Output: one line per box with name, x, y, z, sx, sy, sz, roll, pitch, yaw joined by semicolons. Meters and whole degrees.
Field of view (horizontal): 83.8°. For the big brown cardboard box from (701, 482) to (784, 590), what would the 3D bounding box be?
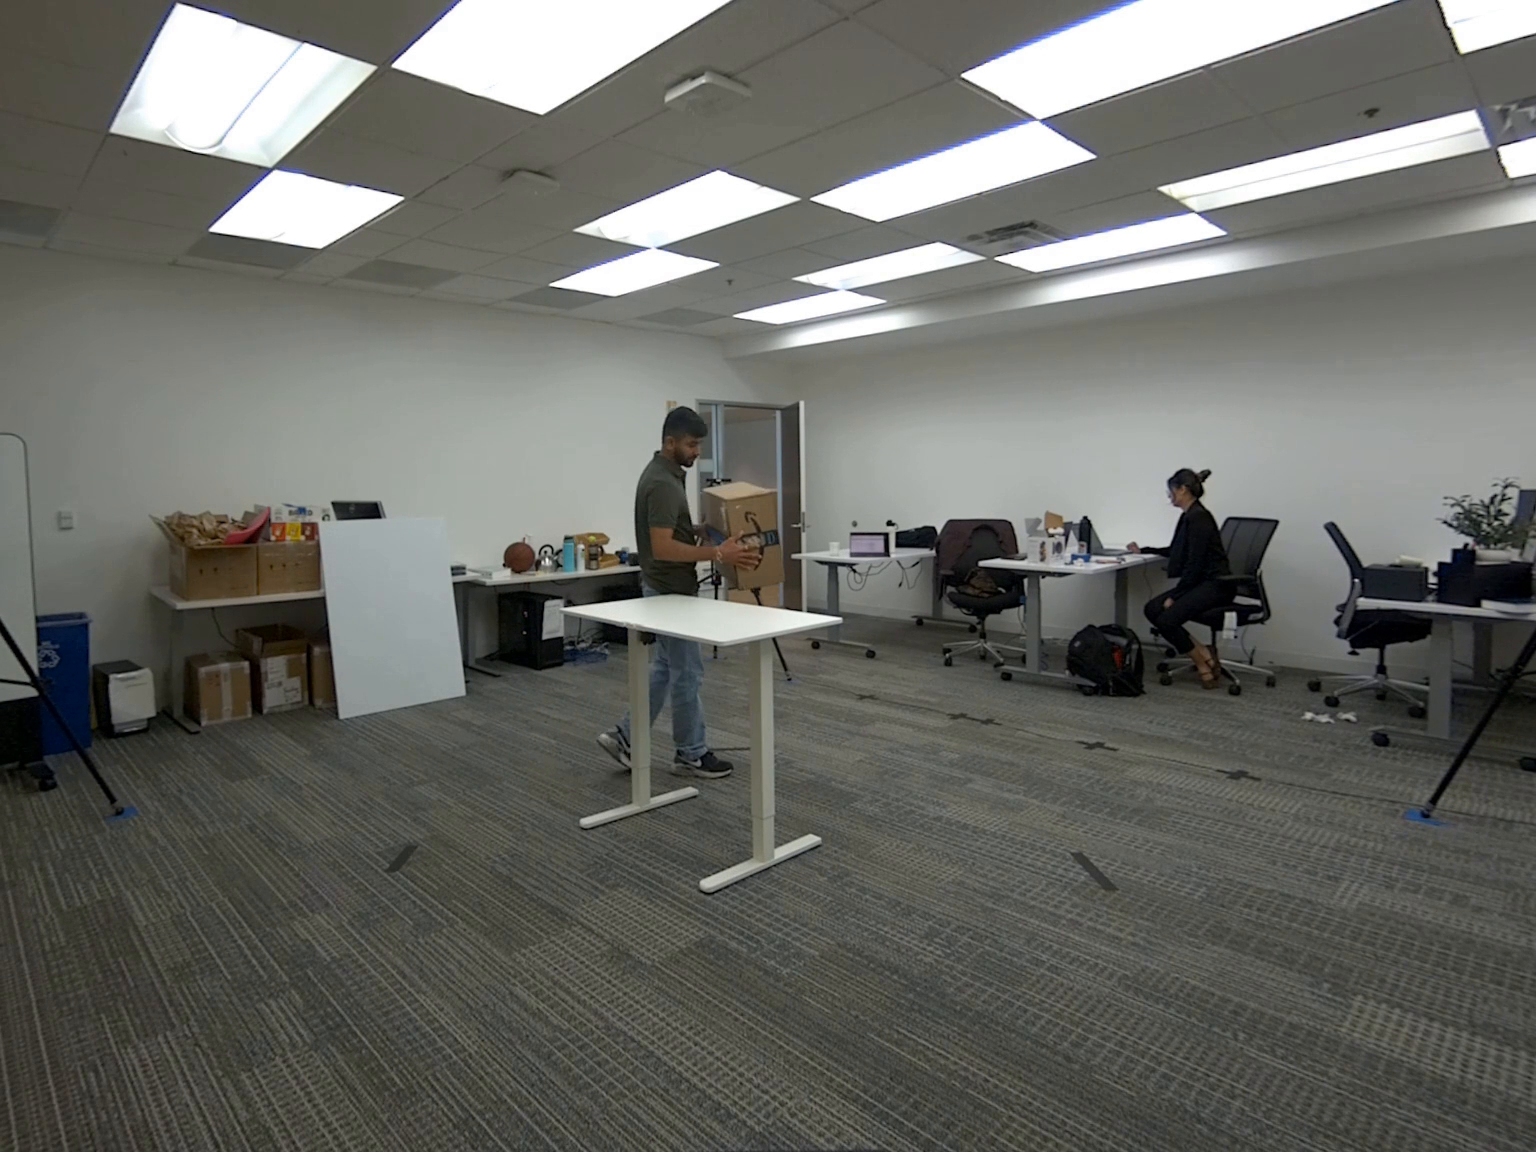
big brown cardboard box;-0.139;-0.201;4.039;0.231;0.413;0.600;-11;11;-12
